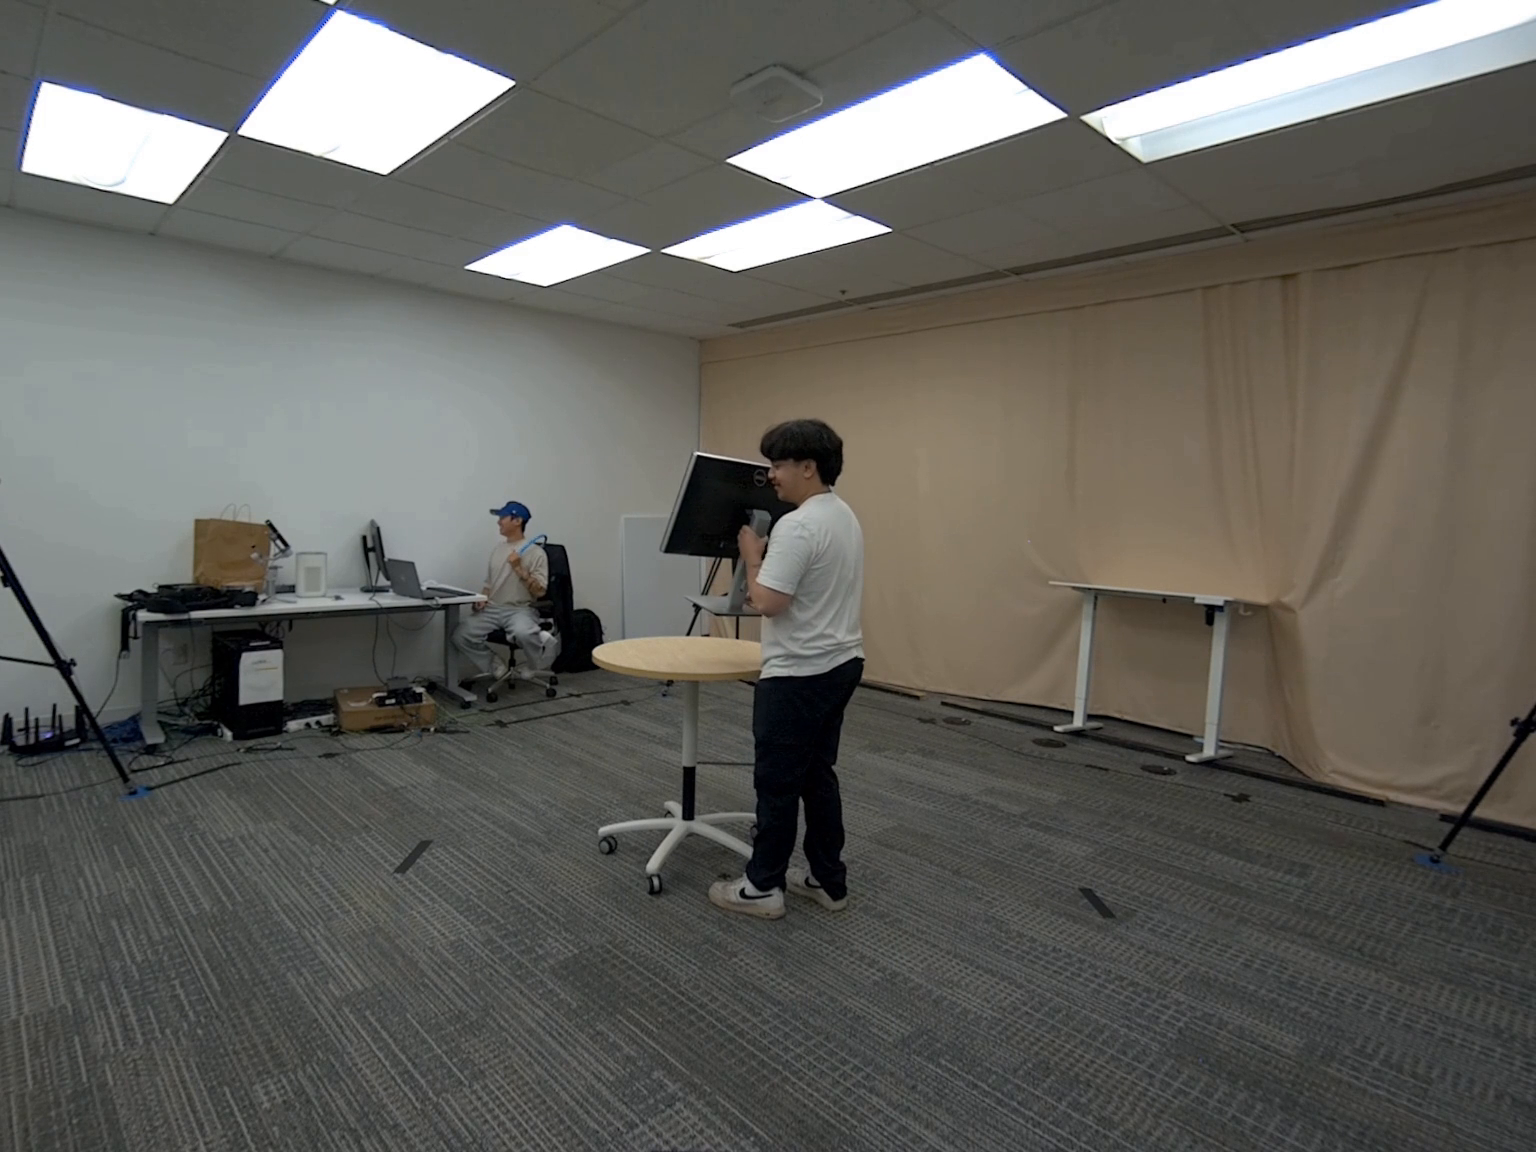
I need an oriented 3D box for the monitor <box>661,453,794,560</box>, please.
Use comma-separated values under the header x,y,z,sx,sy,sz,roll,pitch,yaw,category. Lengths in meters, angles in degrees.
x,y,z,sx,sy,sz,roll,pitch,yaw,category
-0.075,-0.116,2.930,0.551,0.550,0.217,5,18,-41,monitor
